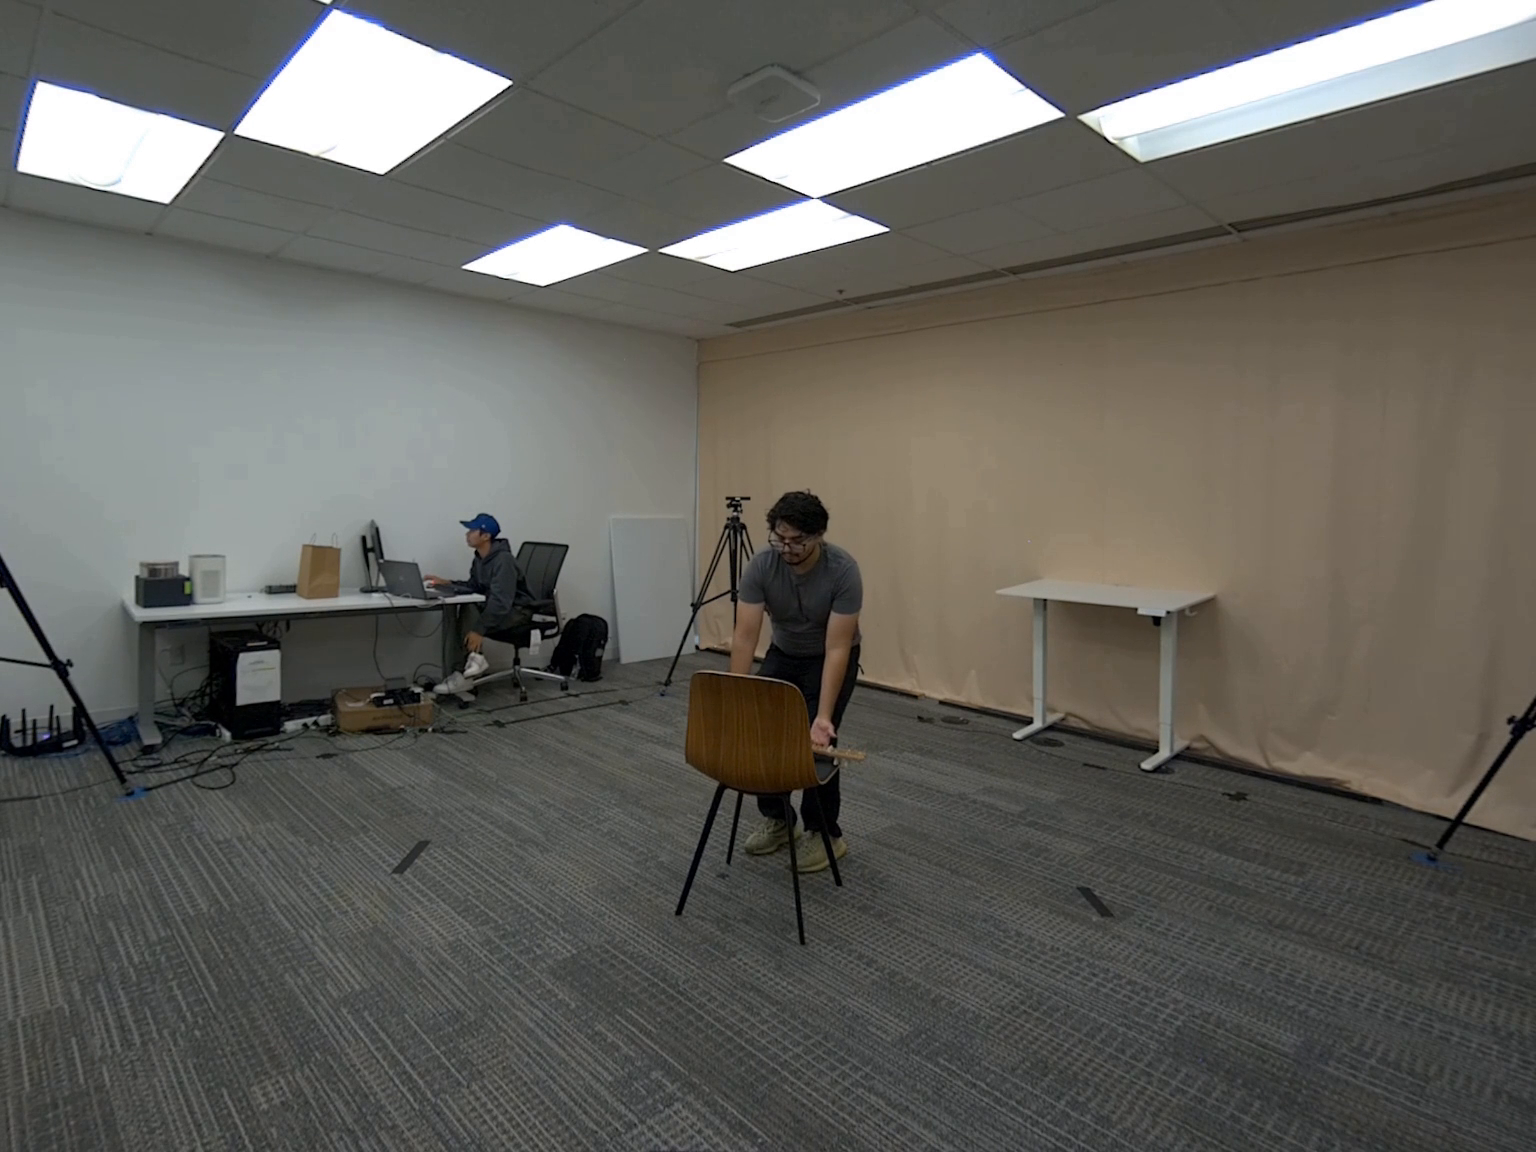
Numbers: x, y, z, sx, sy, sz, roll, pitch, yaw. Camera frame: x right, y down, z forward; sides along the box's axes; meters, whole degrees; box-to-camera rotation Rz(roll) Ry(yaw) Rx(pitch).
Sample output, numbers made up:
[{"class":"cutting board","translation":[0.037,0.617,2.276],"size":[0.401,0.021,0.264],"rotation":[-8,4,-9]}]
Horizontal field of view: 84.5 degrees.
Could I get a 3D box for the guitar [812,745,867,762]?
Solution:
[{"class":"guitar","translation":[0.065,0.620,2.908],"size":[0.510,0.070,0.189],"rotation":[7,8,33]}]
